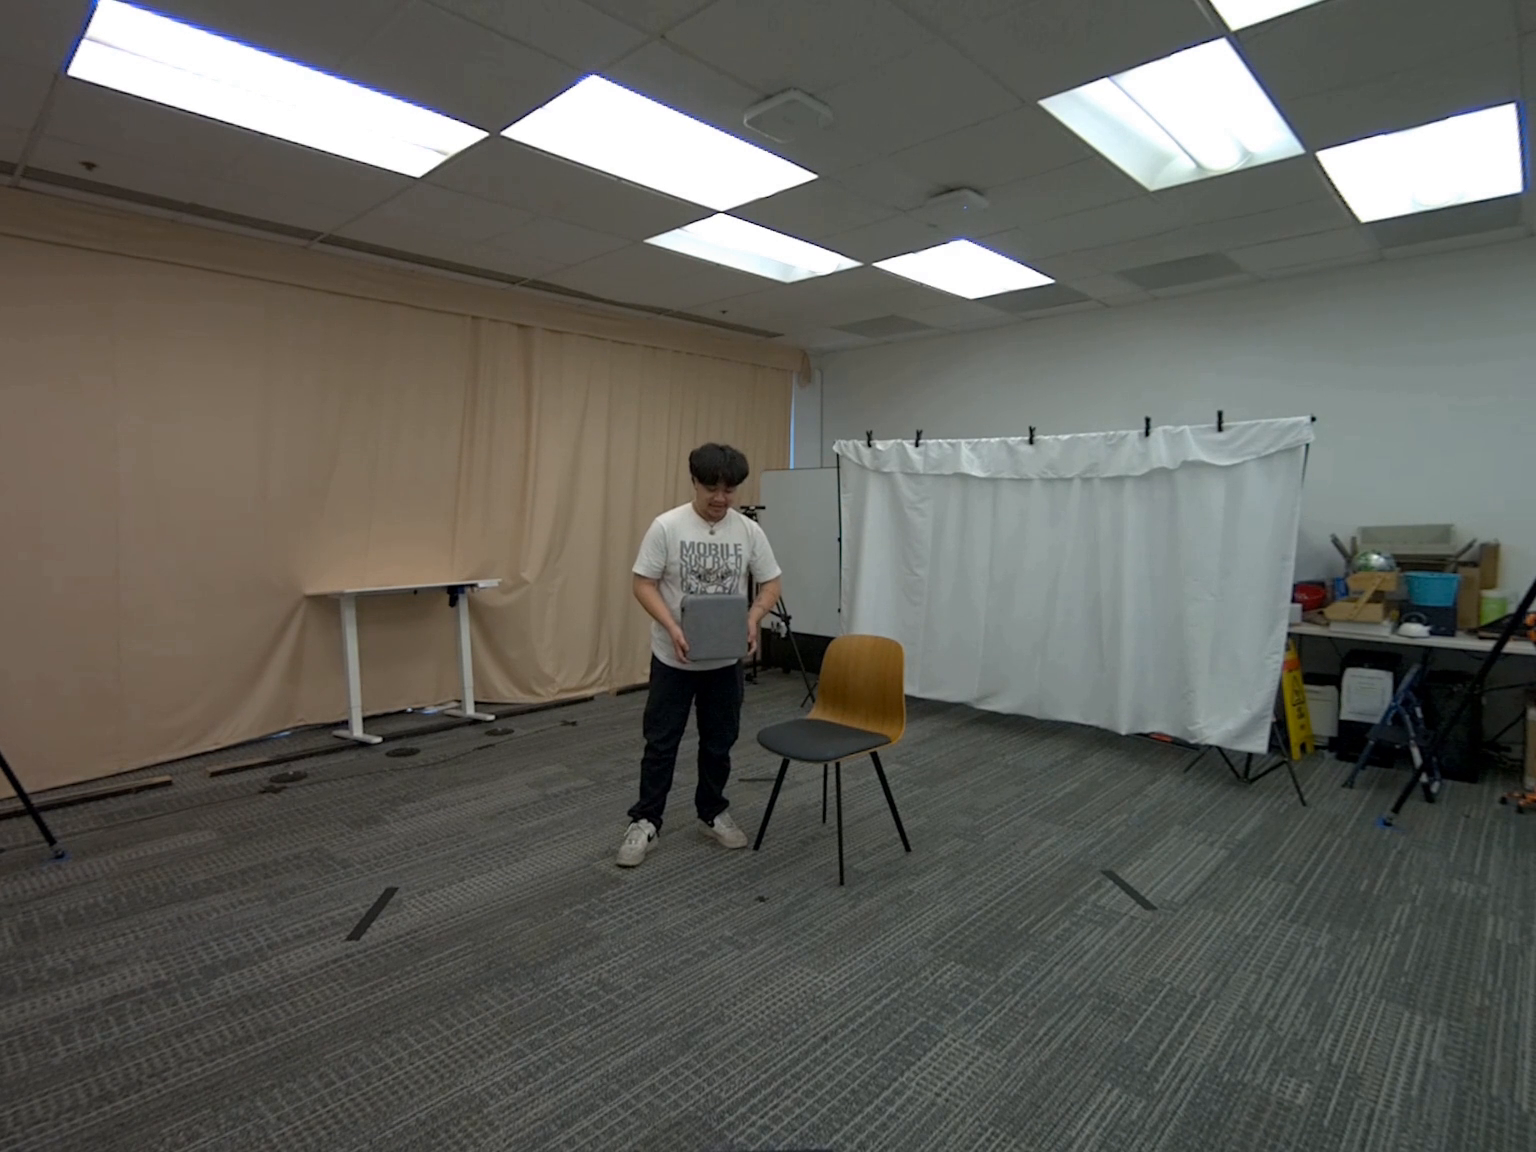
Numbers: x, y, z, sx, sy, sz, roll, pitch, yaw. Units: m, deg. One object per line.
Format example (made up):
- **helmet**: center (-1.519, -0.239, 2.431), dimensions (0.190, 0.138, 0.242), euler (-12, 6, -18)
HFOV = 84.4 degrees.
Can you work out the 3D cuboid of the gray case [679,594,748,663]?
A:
- **gray case**: center (-0.215, 0.186, 3.235), dimensions (0.253, 0.260, 0.106), euler (-3, 2, -15)
